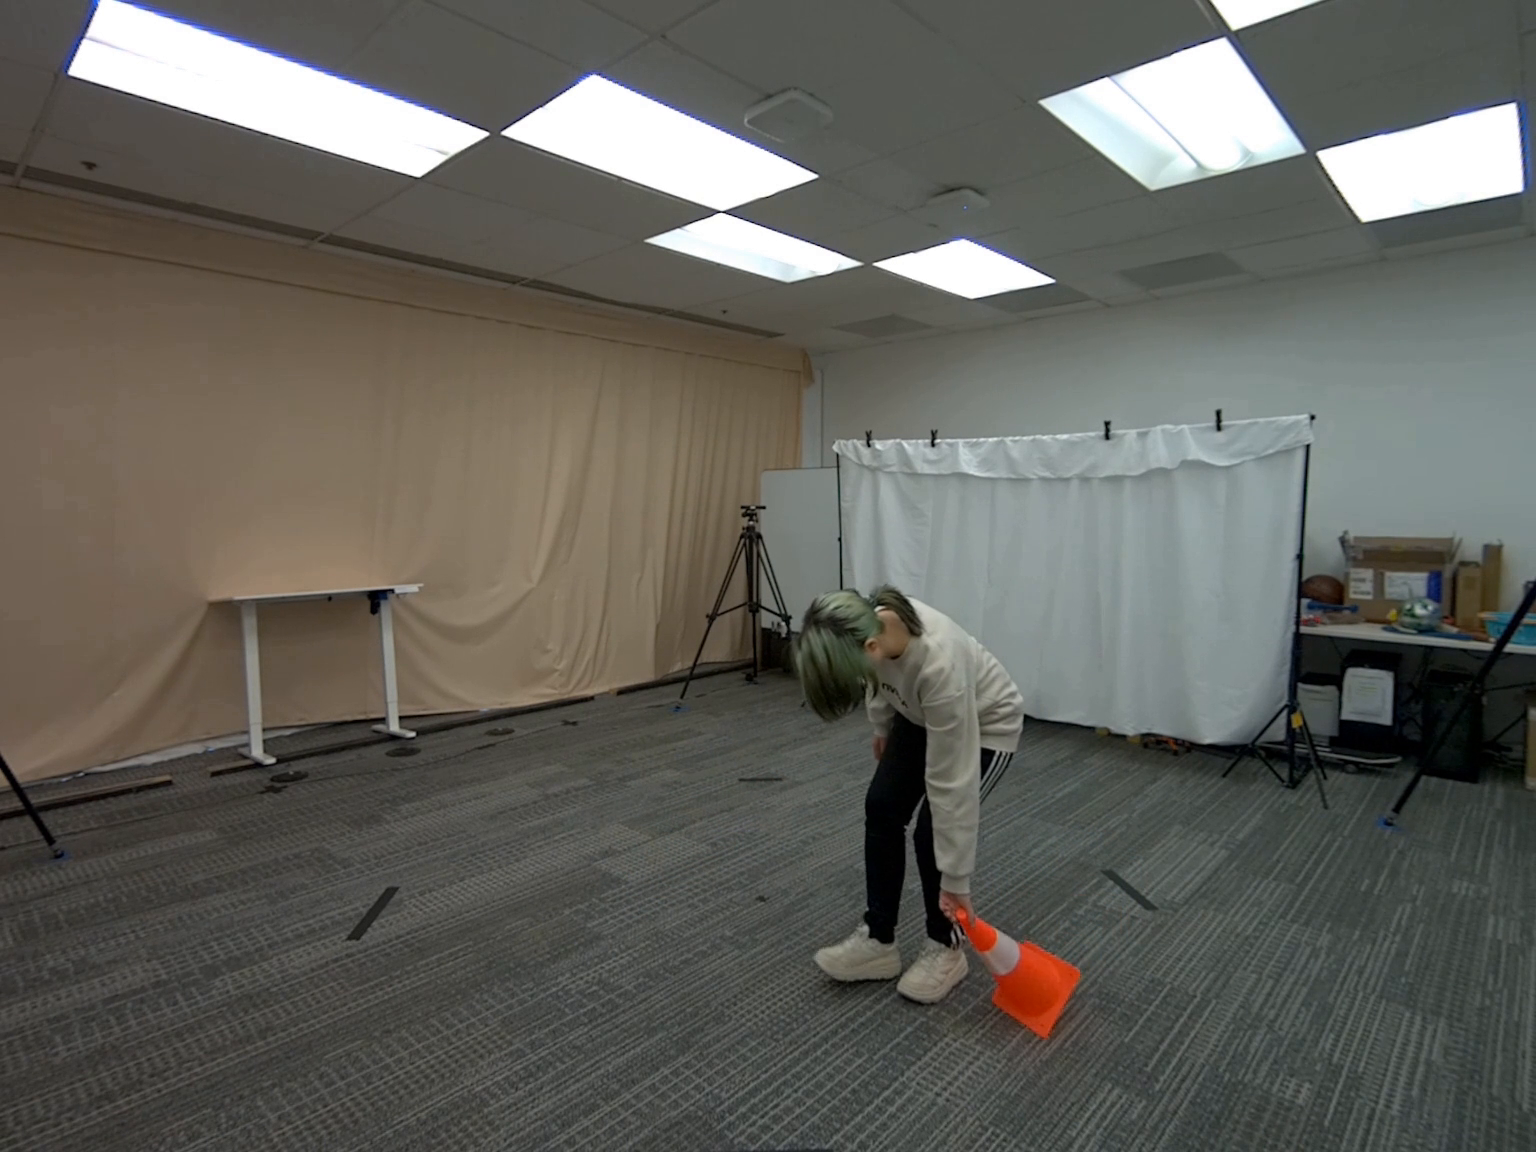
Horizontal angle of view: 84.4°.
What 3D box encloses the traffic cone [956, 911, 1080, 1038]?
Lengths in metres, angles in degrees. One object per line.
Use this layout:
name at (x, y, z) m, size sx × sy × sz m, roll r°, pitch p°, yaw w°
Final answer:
traffic cone at (0.628, 1.006, 2.236) m, size 0.375 × 0.203 × 0.210 m, roll 45°, pitch -9°, yaw -21°
